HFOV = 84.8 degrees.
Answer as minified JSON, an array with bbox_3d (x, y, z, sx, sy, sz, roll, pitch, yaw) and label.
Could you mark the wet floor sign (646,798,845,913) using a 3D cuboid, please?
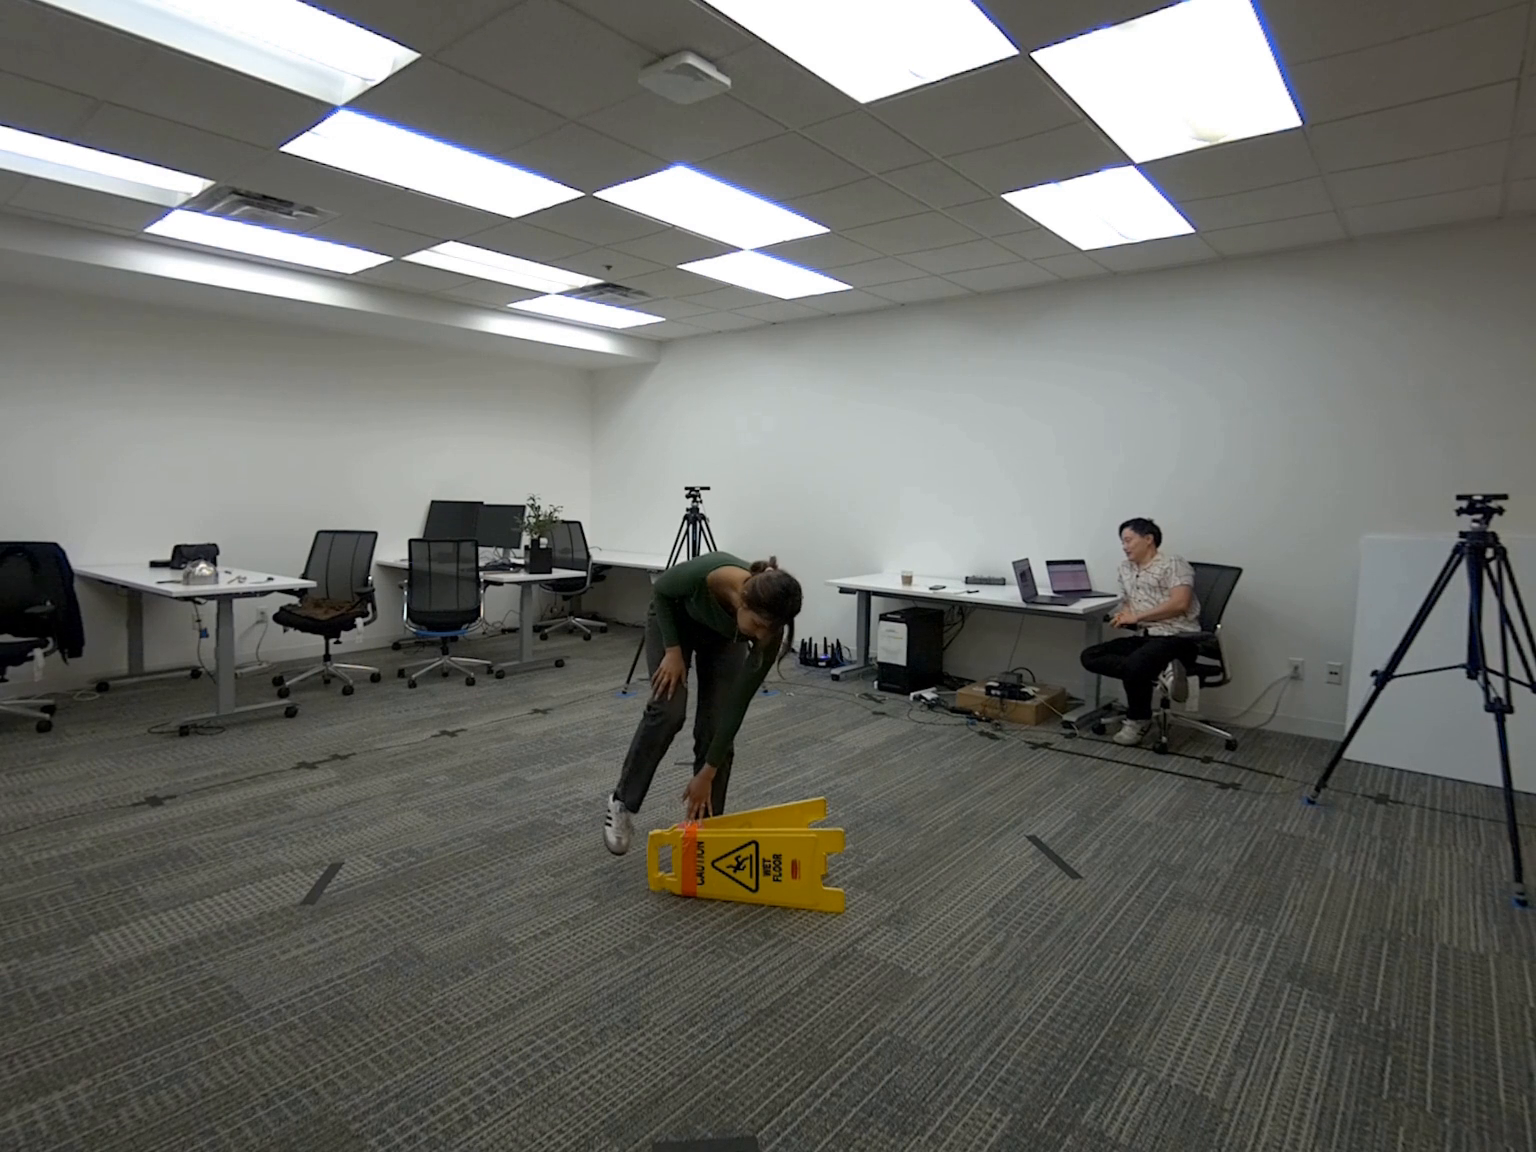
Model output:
[{"bbox_3d":[-0.100,0.954,2.908,0.643,0.281,0.292,-2,5,-5],"label":"wet floor sign"}]
